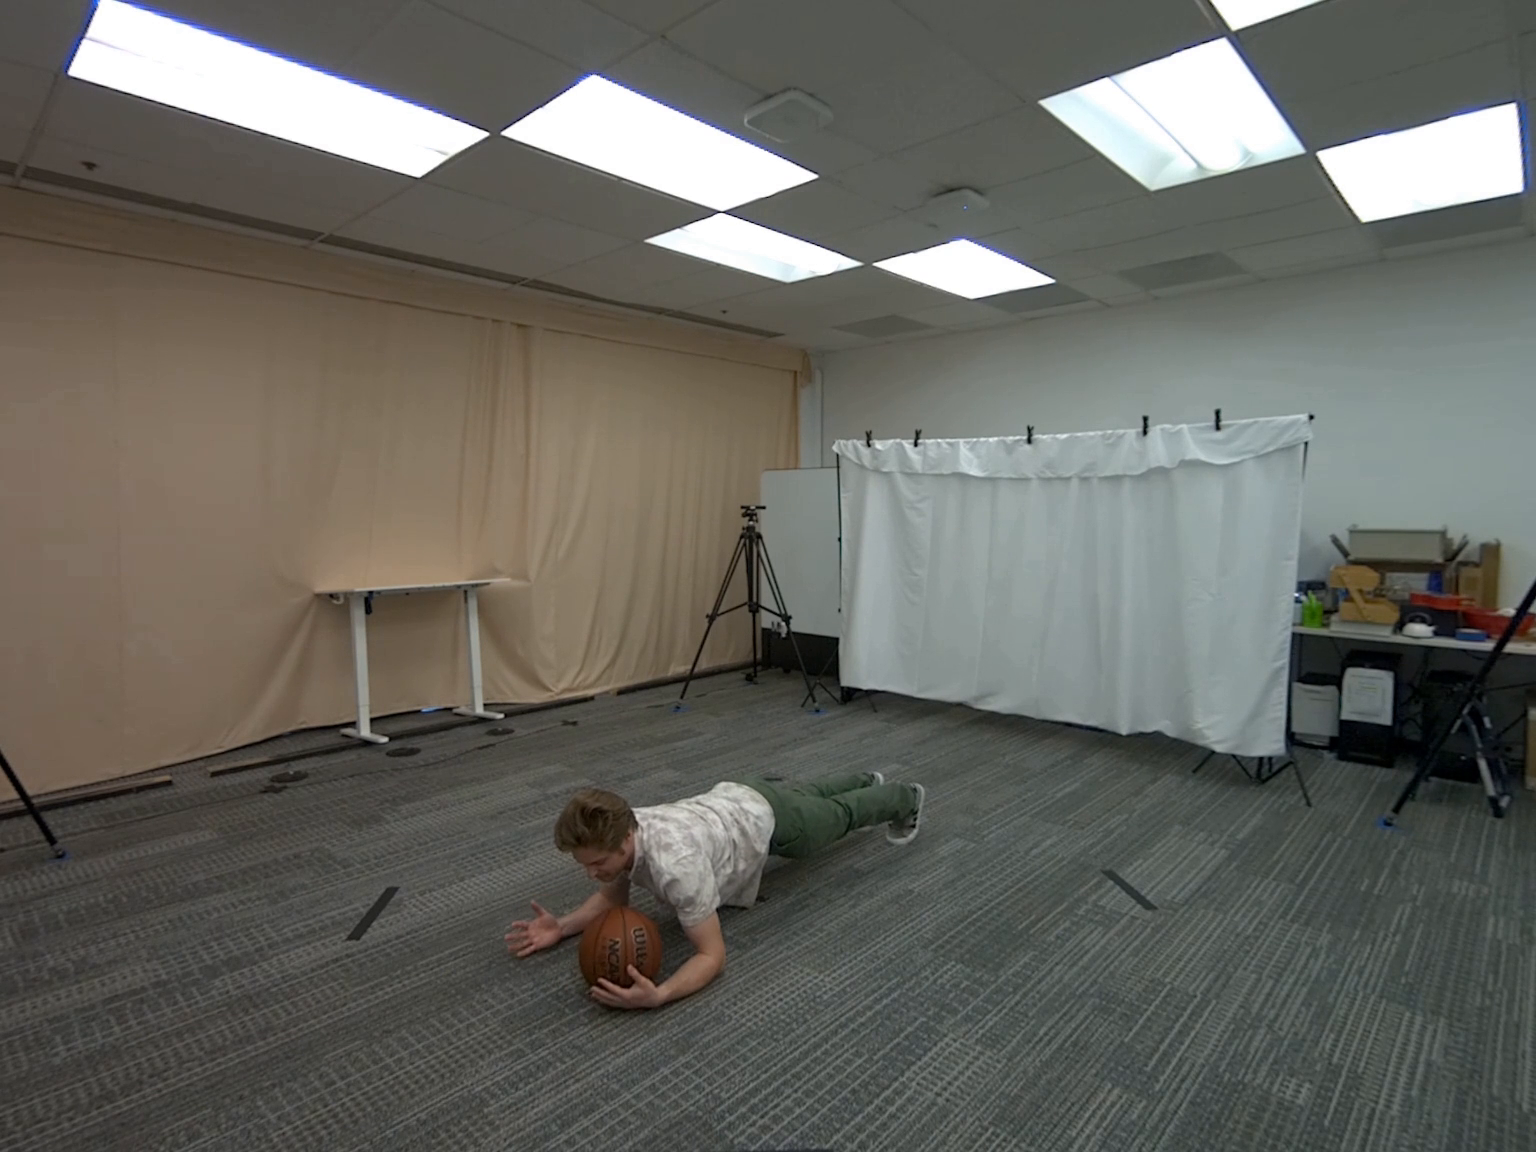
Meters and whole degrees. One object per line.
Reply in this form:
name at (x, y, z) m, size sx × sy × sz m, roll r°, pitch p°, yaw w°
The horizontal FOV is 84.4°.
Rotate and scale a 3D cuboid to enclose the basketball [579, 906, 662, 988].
basketball at (-0.419, 1.065, 2.416) m, size 0.236 × 0.235 × 0.237 m, roll 0°, pitch 4°, yaw -2°
